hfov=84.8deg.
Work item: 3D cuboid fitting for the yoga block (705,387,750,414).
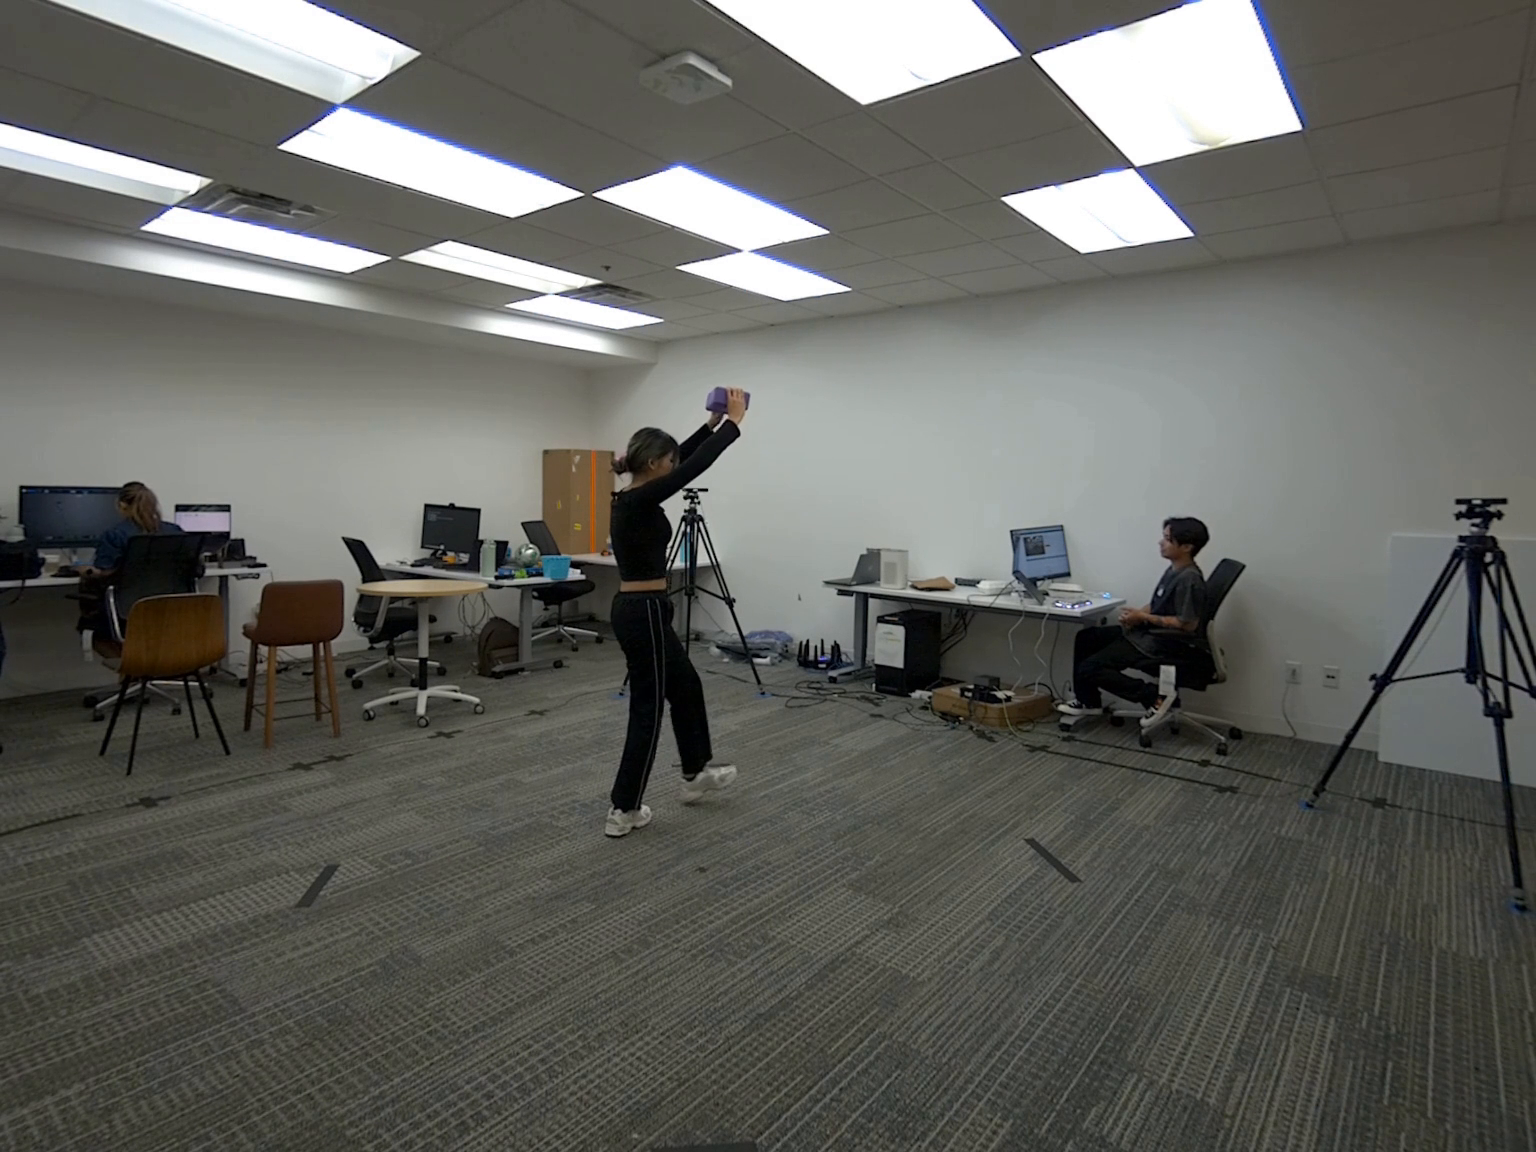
[{"bbox_3d":[-0.183,-0.730,3.576,0.147,0.076,0.232,13,1,-12],"label":"yoga block"}]
